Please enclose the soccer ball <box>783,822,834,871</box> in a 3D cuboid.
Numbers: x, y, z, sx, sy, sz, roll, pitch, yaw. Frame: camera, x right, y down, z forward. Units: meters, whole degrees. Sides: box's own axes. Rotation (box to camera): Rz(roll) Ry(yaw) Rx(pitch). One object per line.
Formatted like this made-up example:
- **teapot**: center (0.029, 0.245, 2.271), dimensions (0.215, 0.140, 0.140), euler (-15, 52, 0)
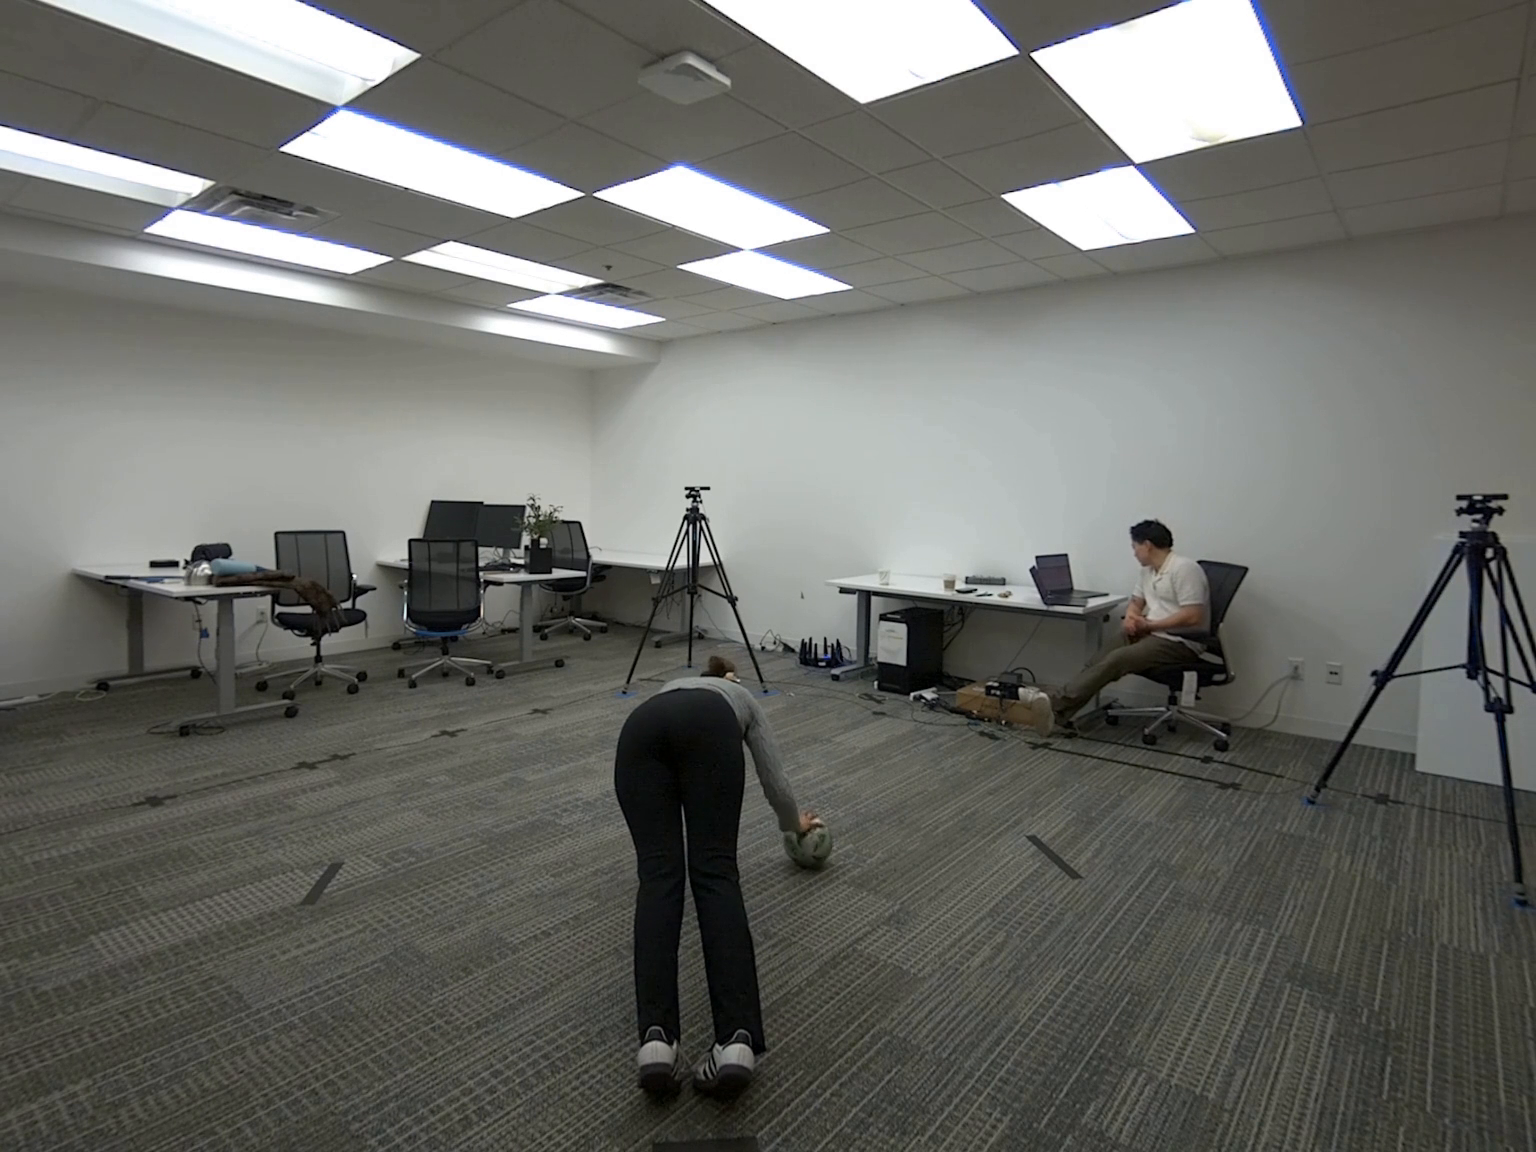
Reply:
- **soccer ball**: center (0.131, 0.976, 3.152), dimensions (0.187, 0.187, 0.188), euler (1, 4, -2)
